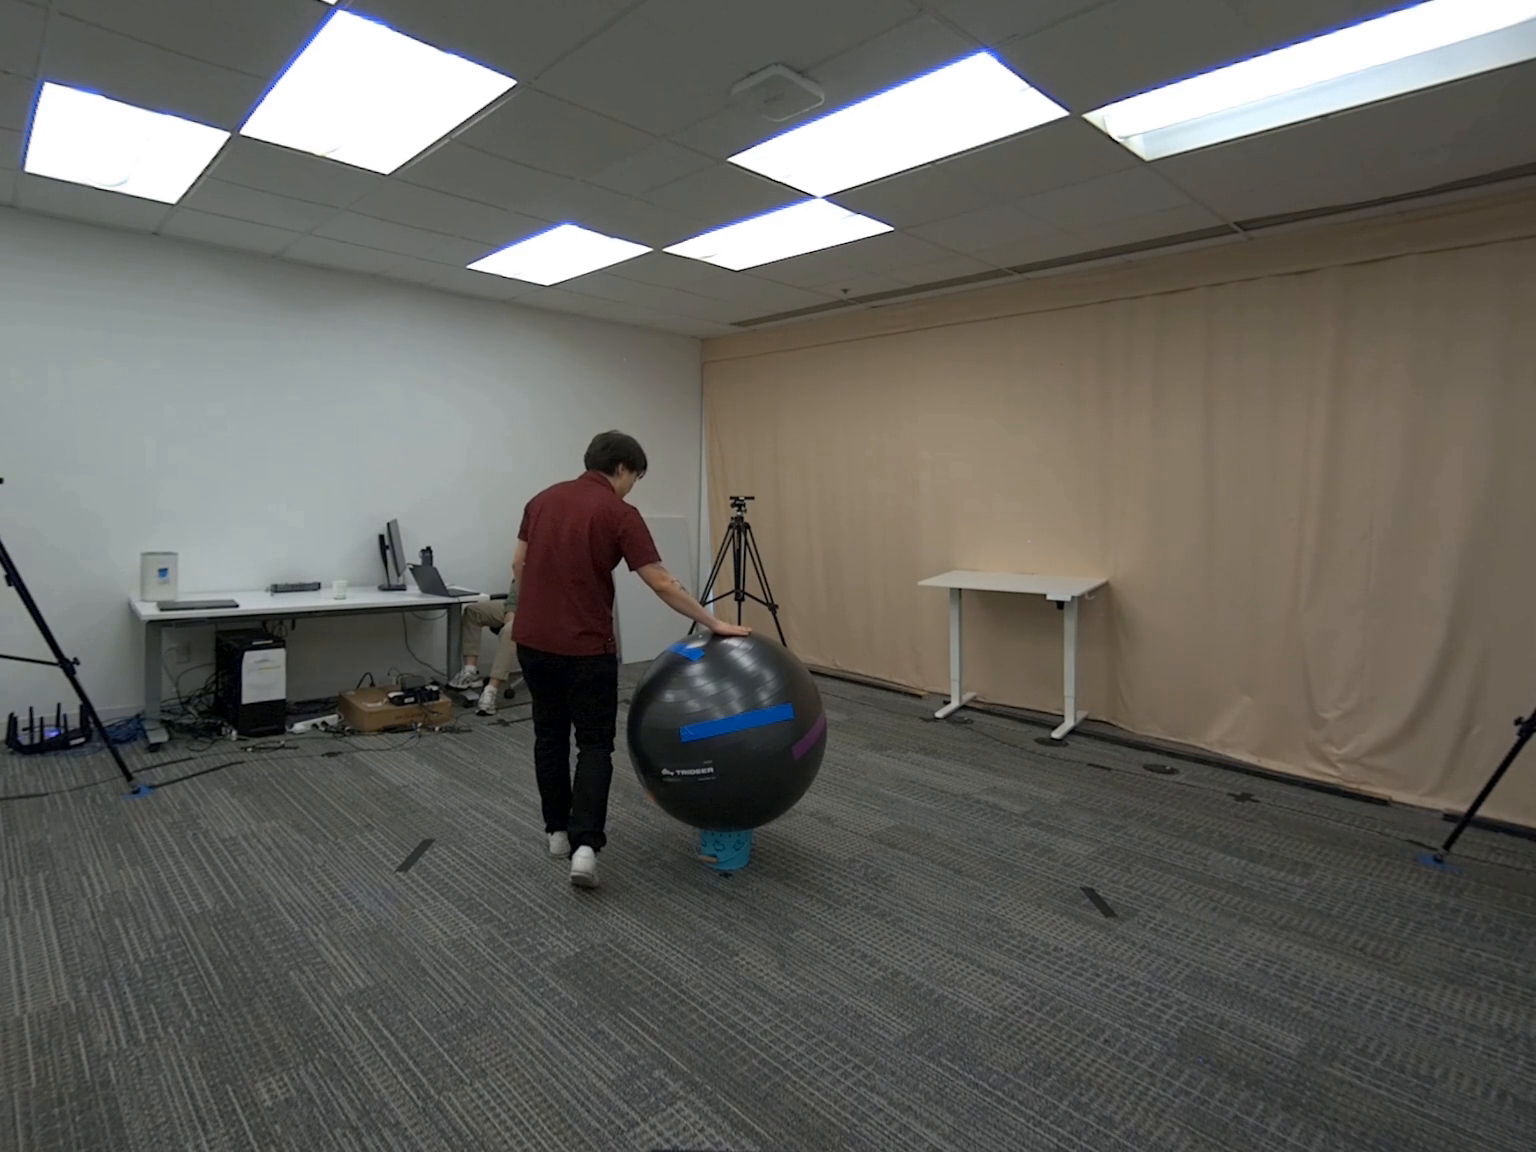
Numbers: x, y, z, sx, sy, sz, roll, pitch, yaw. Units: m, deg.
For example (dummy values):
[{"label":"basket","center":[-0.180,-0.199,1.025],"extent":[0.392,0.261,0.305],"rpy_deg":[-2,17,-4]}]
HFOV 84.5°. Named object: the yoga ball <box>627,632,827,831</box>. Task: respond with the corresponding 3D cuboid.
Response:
[{"label":"yoga ball","center":[-0.159,0.586,3.212],"extent":[0.757,0.756,0.761],"rpy_deg":[1,4,-1]}]
